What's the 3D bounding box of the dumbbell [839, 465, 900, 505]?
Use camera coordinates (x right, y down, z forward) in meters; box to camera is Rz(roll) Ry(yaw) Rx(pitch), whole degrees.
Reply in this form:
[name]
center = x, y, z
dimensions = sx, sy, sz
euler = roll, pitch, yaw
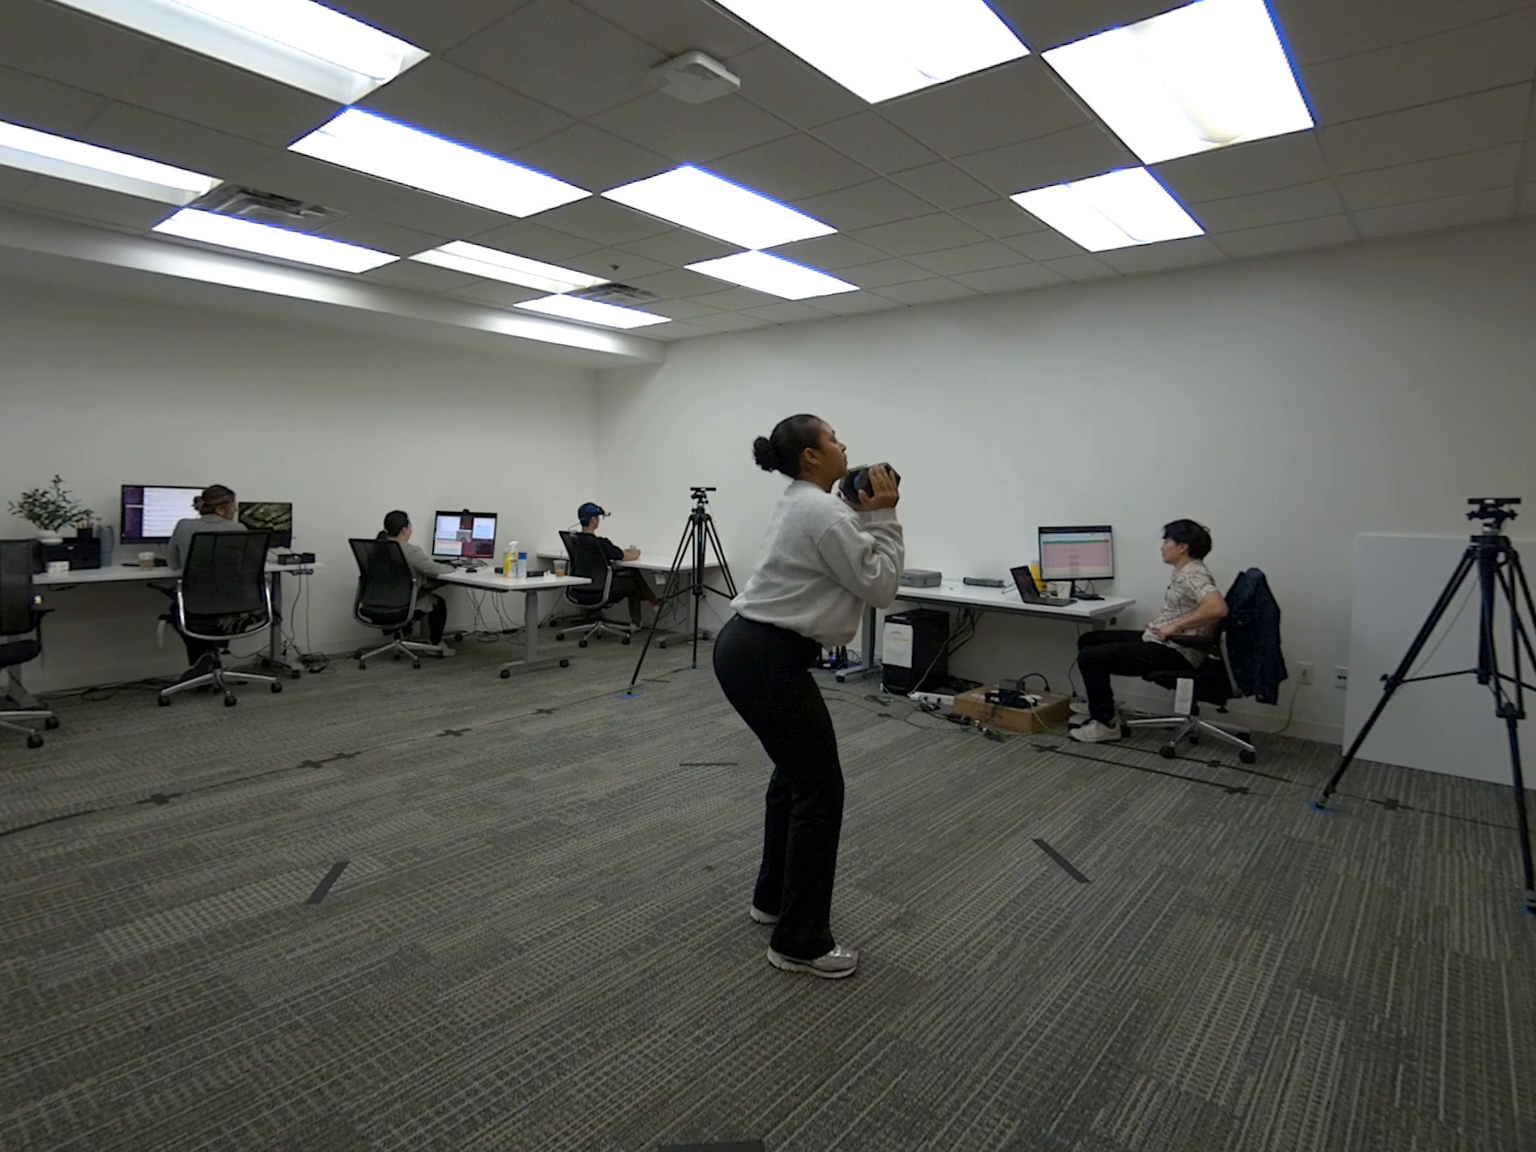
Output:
[dumbbell]
center = 0.293, -0.269, 2.575
dimensions = 0.121, 0.108, 0.297
euler = 45, -4, -10
